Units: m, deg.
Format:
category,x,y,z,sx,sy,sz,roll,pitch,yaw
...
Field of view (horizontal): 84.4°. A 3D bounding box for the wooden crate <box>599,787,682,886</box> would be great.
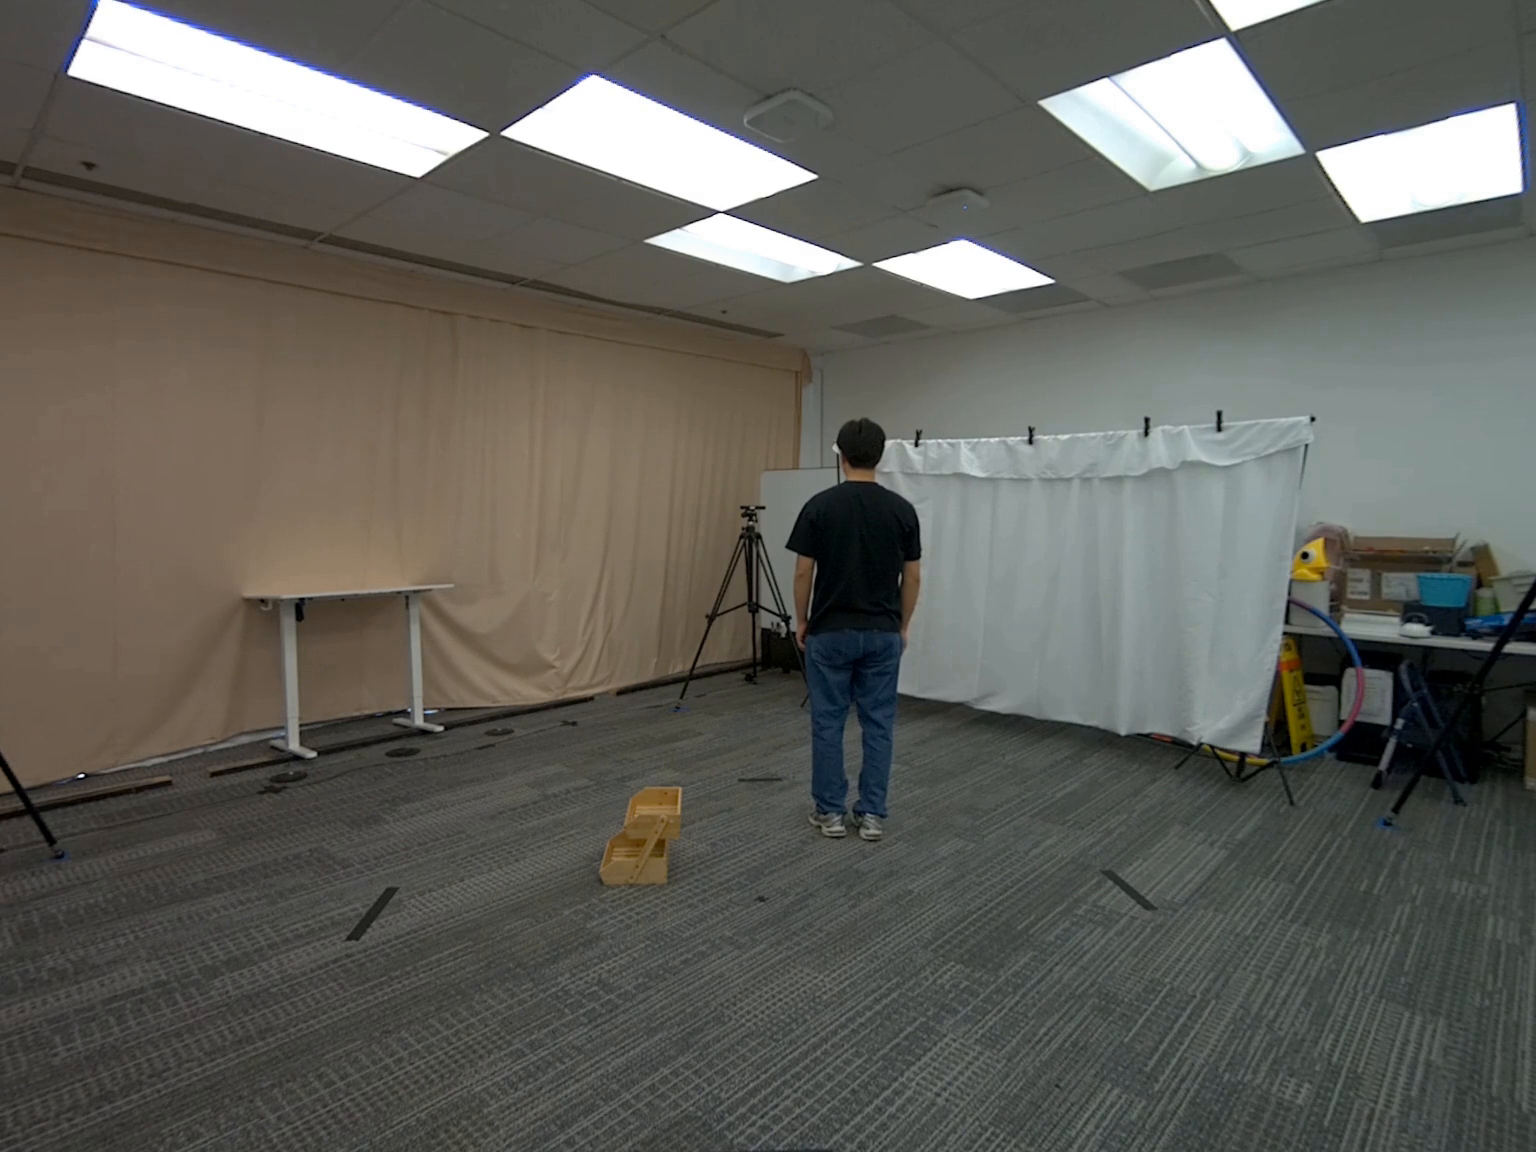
category,x,y,z,sx,sy,sz,roll,pitch,yaw
wooden crate,-0.494,0.991,3.250,0.301,0.272,0.326,-1,4,-3
